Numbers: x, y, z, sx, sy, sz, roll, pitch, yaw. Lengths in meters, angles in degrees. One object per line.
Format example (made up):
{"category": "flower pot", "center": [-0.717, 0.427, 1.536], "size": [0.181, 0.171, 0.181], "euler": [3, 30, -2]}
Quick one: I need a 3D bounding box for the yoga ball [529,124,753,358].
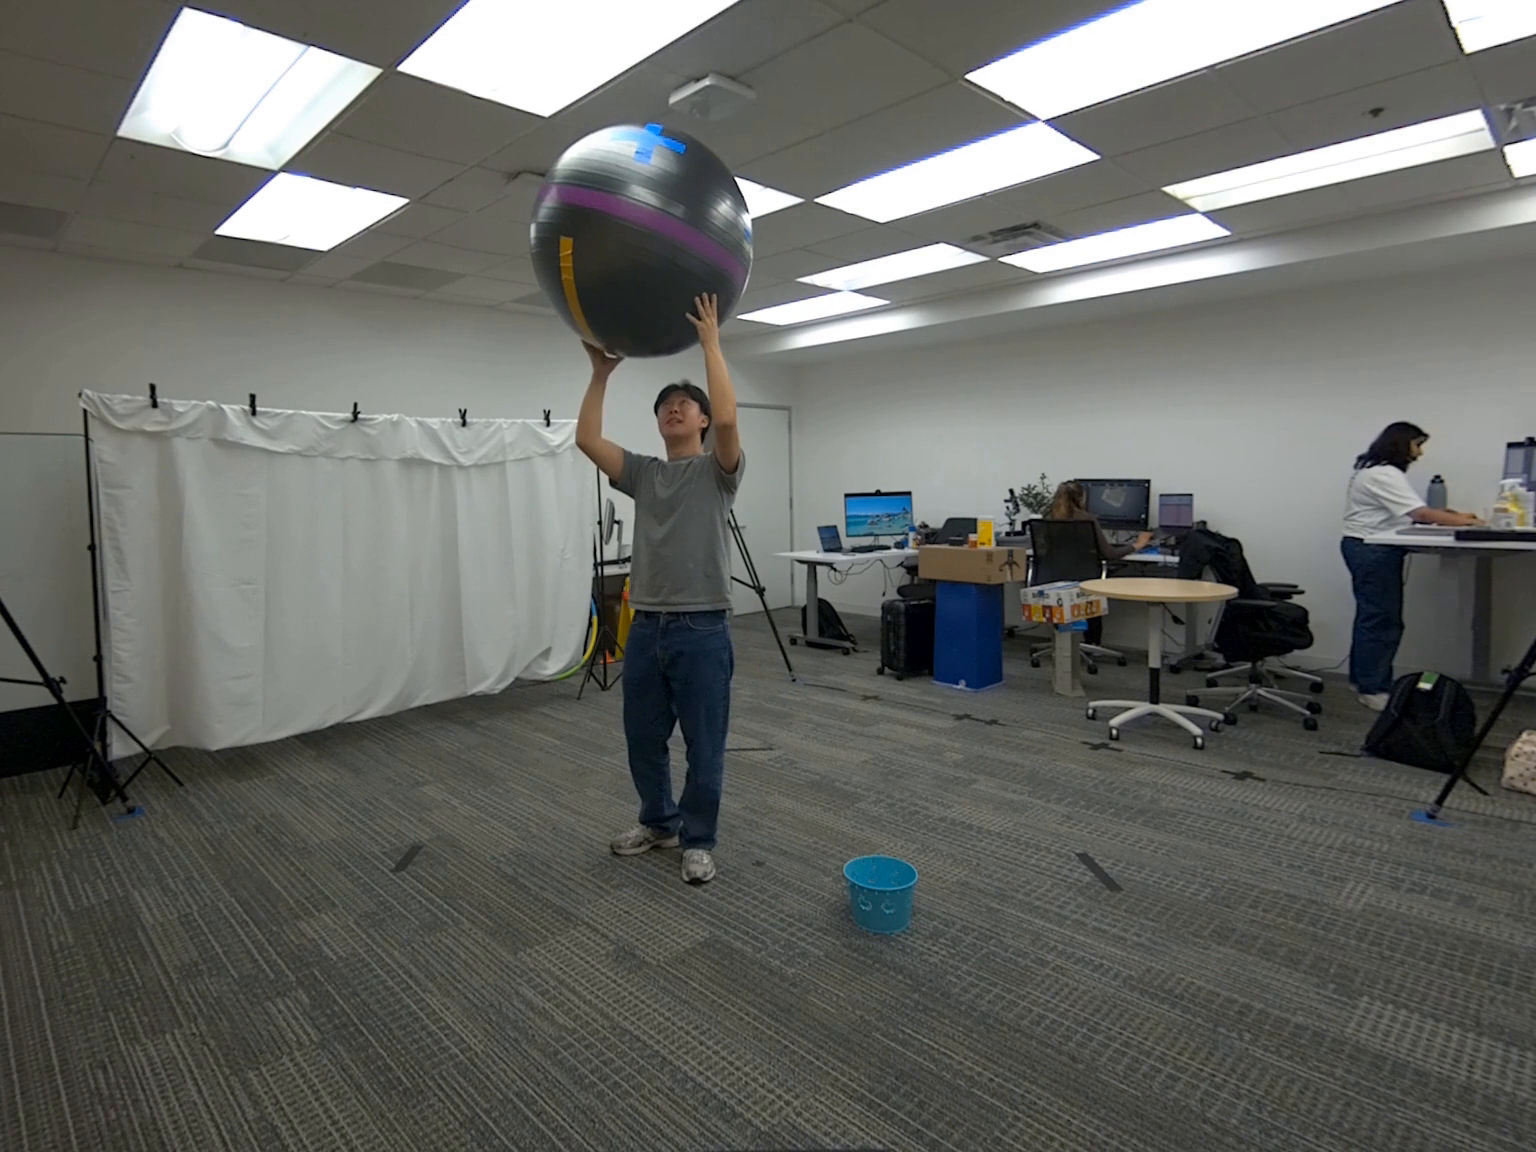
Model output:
{"category": "yoga ball", "center": [-0.424, -1.130, 2.922], "size": [0.757, 0.755, 0.762], "euler": [-1, 5, -2]}
